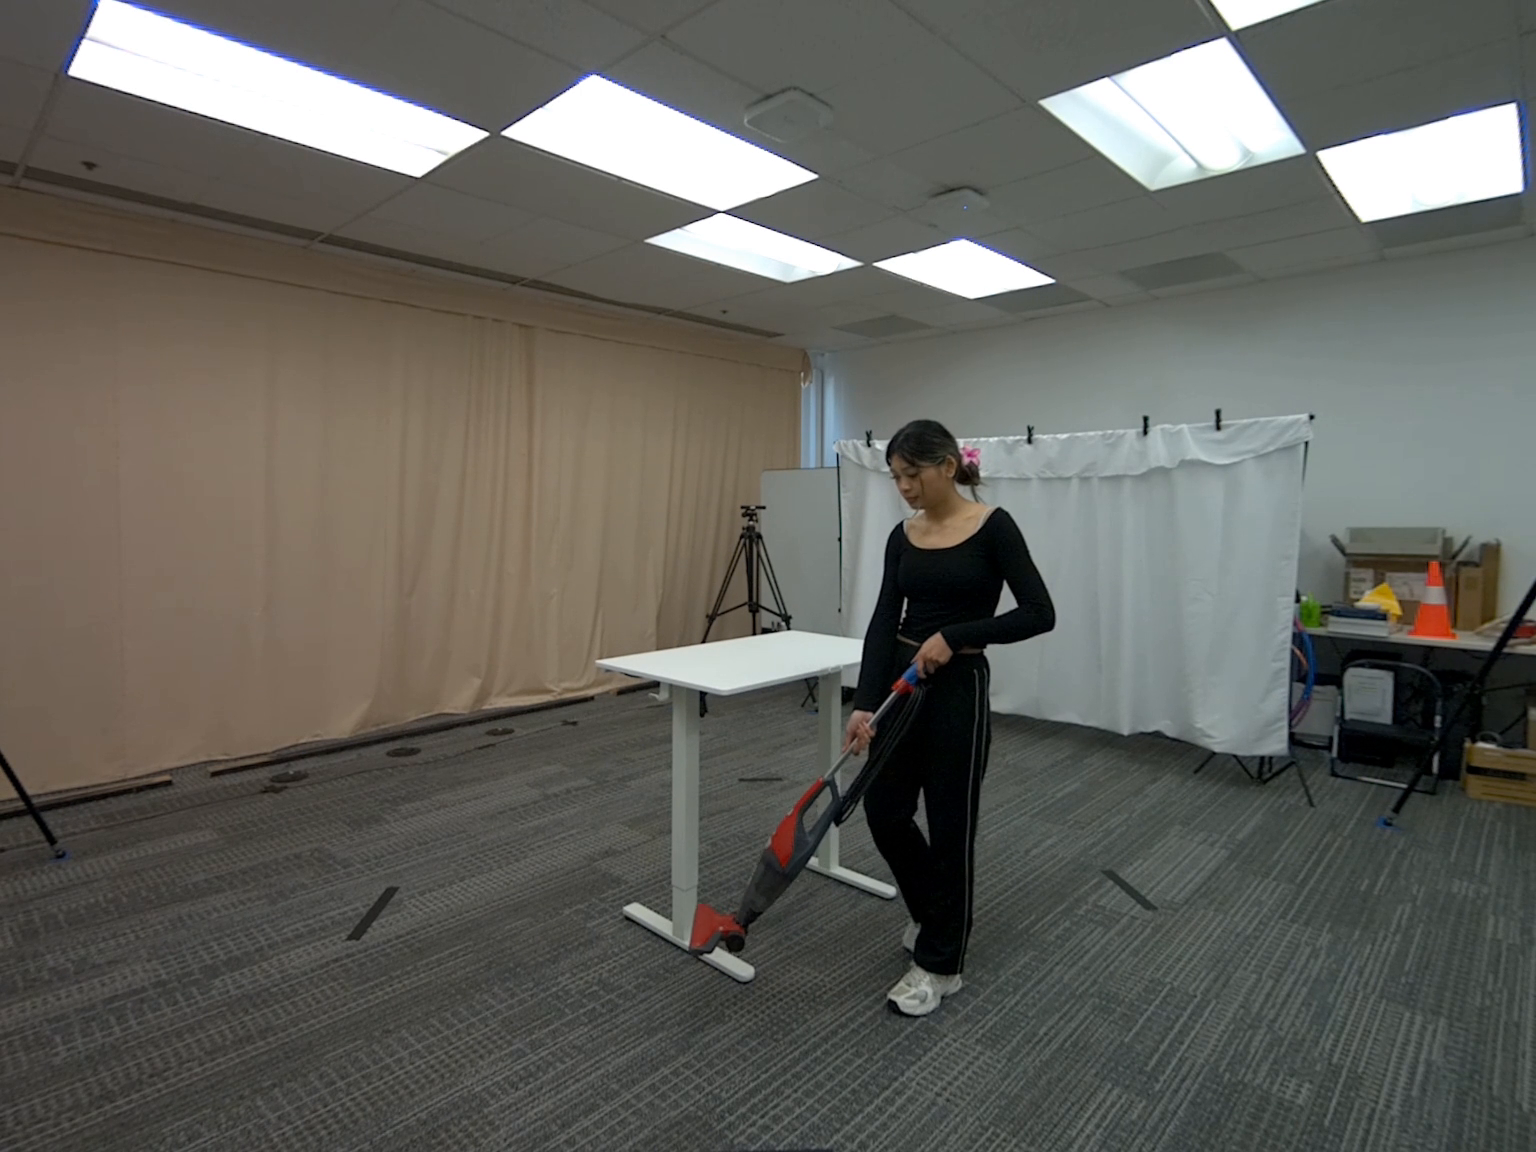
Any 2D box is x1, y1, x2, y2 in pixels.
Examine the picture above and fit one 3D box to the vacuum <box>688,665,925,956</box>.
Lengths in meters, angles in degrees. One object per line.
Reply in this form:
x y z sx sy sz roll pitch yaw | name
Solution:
0.183 0.578 2.257 0.144 1.050 0.251 38 3 1 | vacuum
